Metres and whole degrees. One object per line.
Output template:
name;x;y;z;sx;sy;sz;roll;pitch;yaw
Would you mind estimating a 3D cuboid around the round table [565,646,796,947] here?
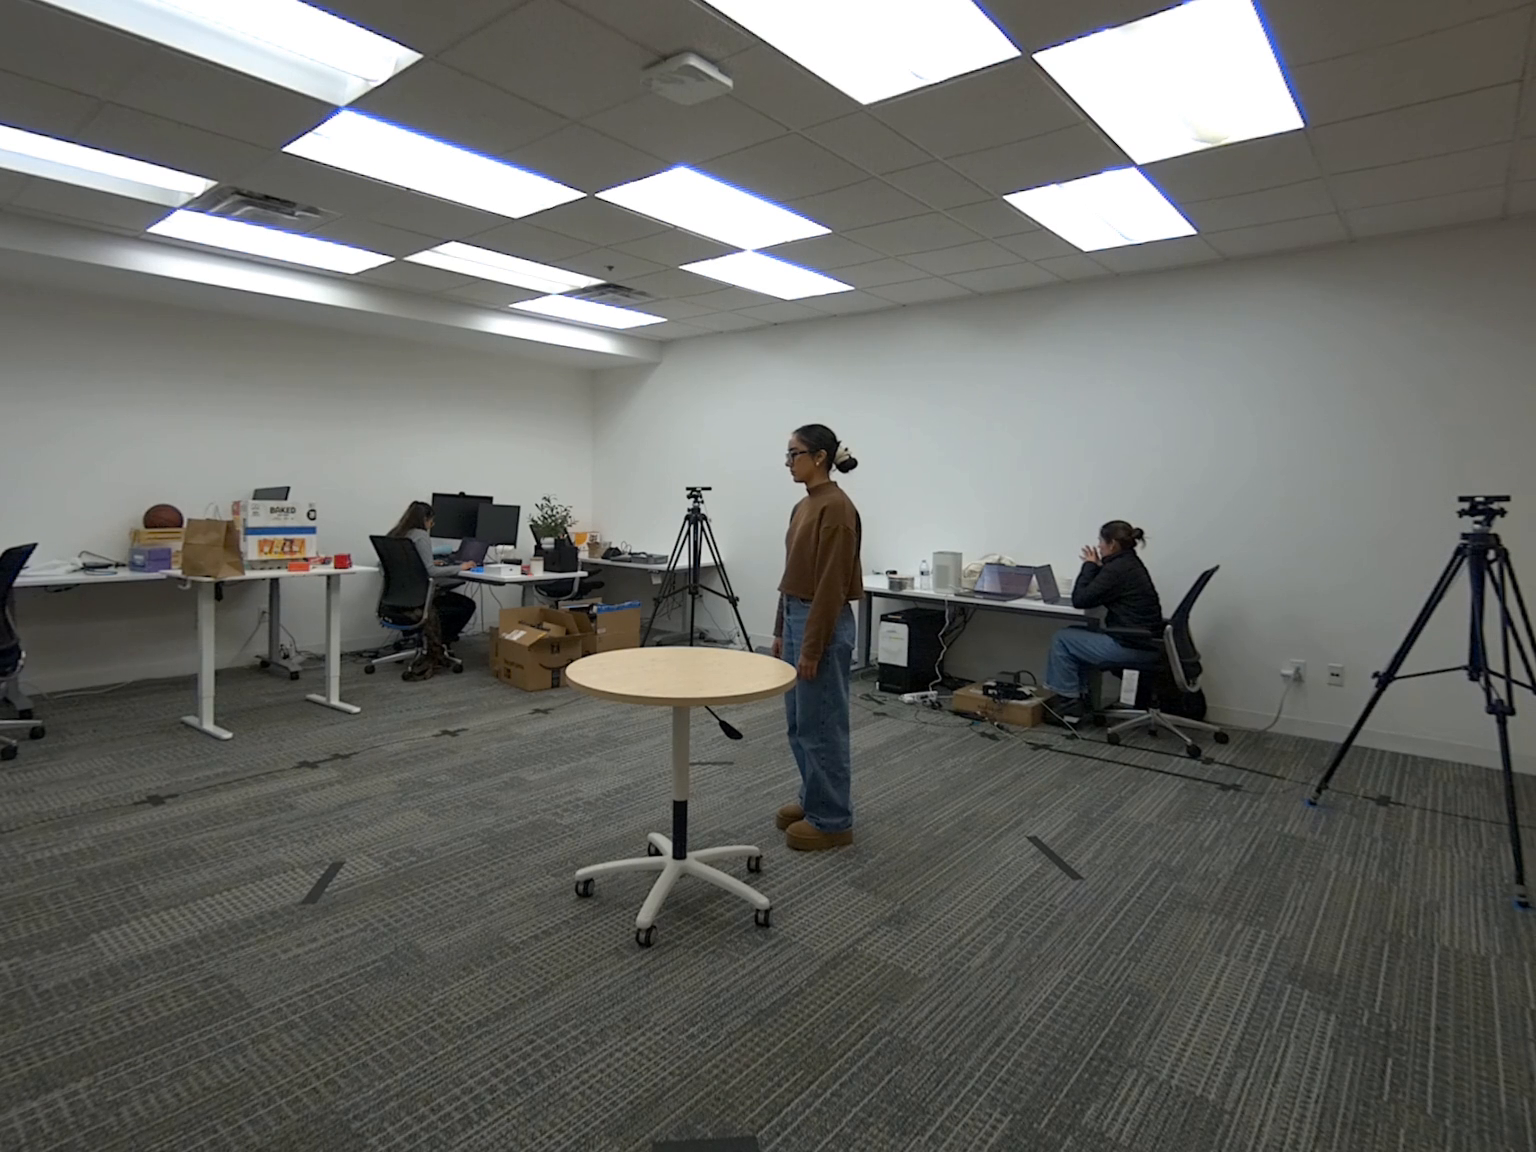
round table;-0.307;0.695;2.875;0.784;0.783;0.790;1;5;-2
